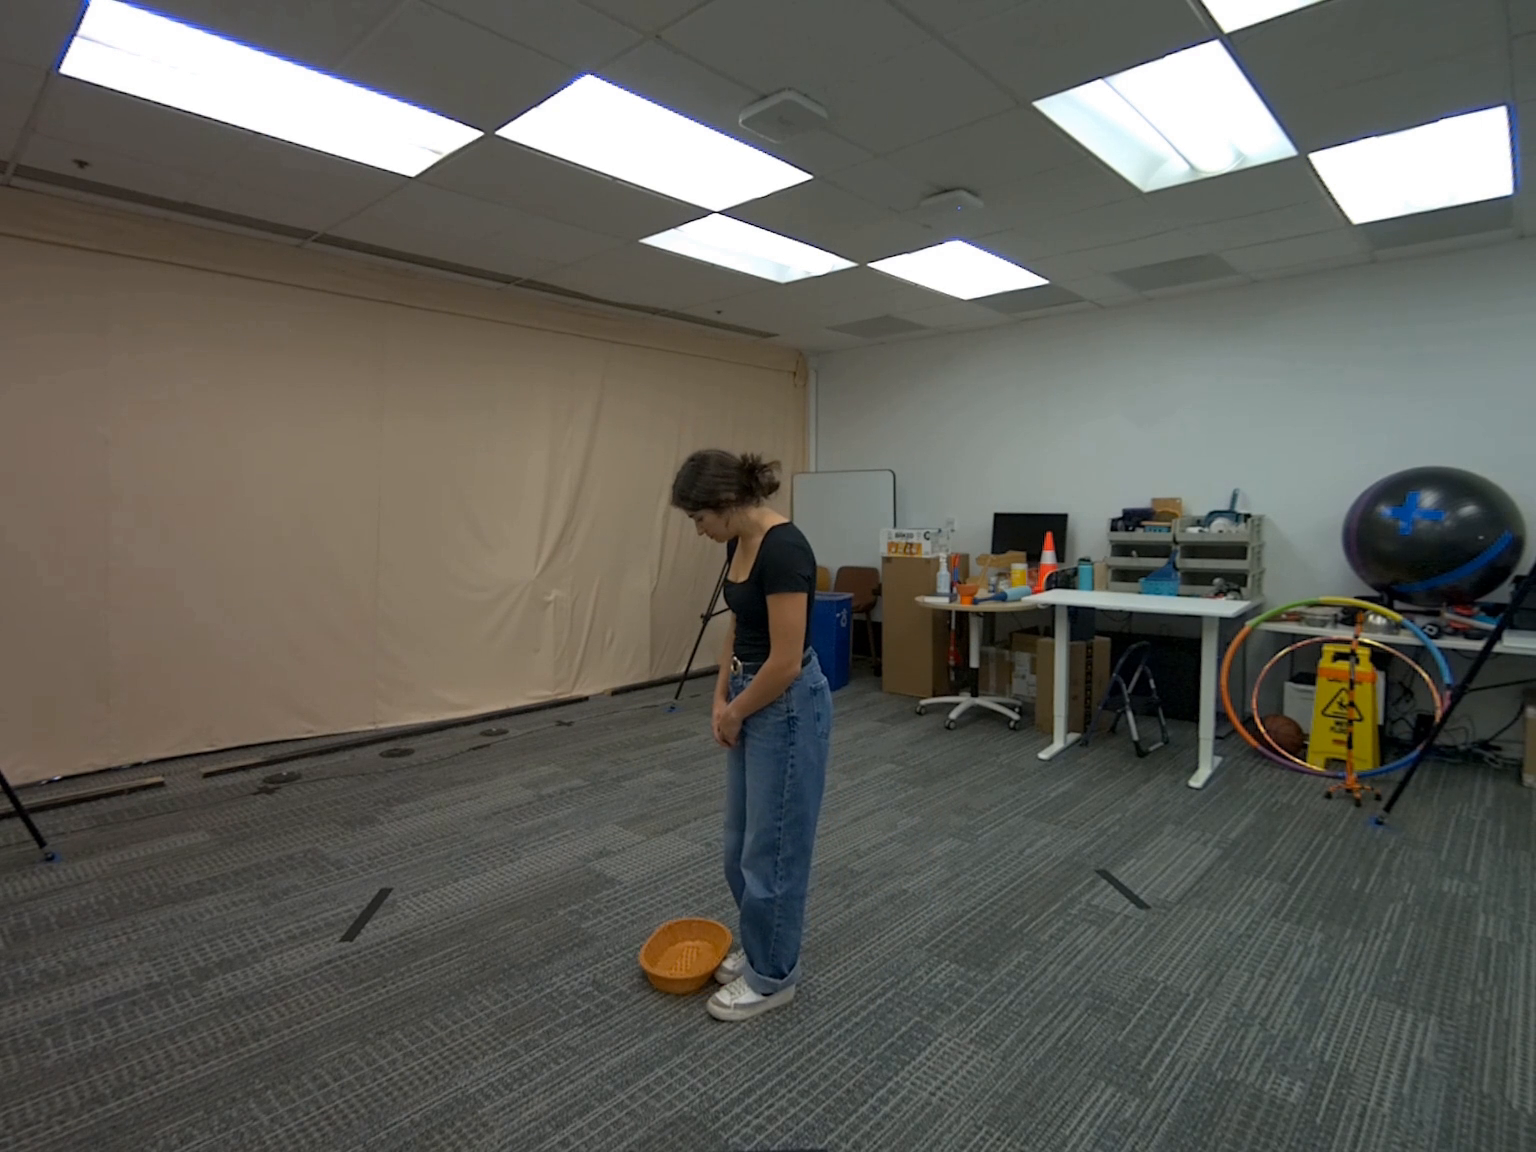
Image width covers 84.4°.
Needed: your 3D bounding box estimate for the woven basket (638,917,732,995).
[{"bbox_3d":[-0.241,1.143,2.534,0.257,0.073,0.344,2,5,18],"label":"woven basket"}]
